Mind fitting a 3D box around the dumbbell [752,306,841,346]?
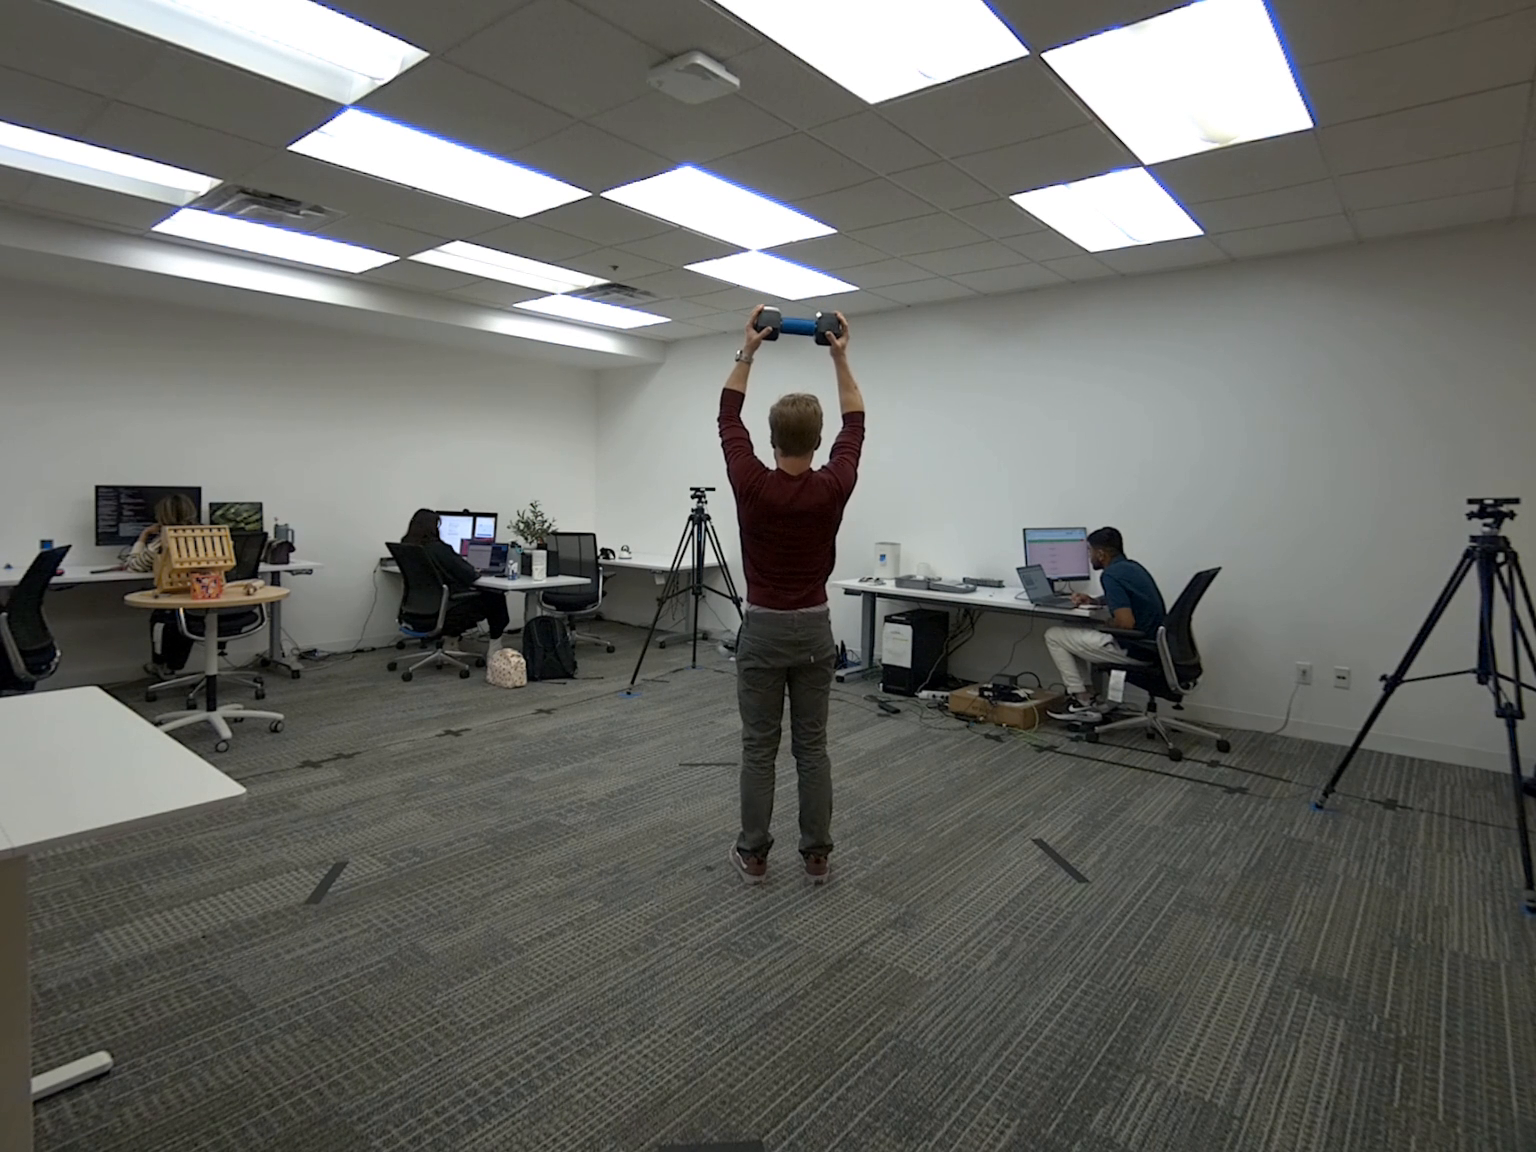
[{"bbox_3d":[0.095,-0.888,3.043,0.293,0.111,0.120,4,-34,-2],"label":"dumbbell"}]
